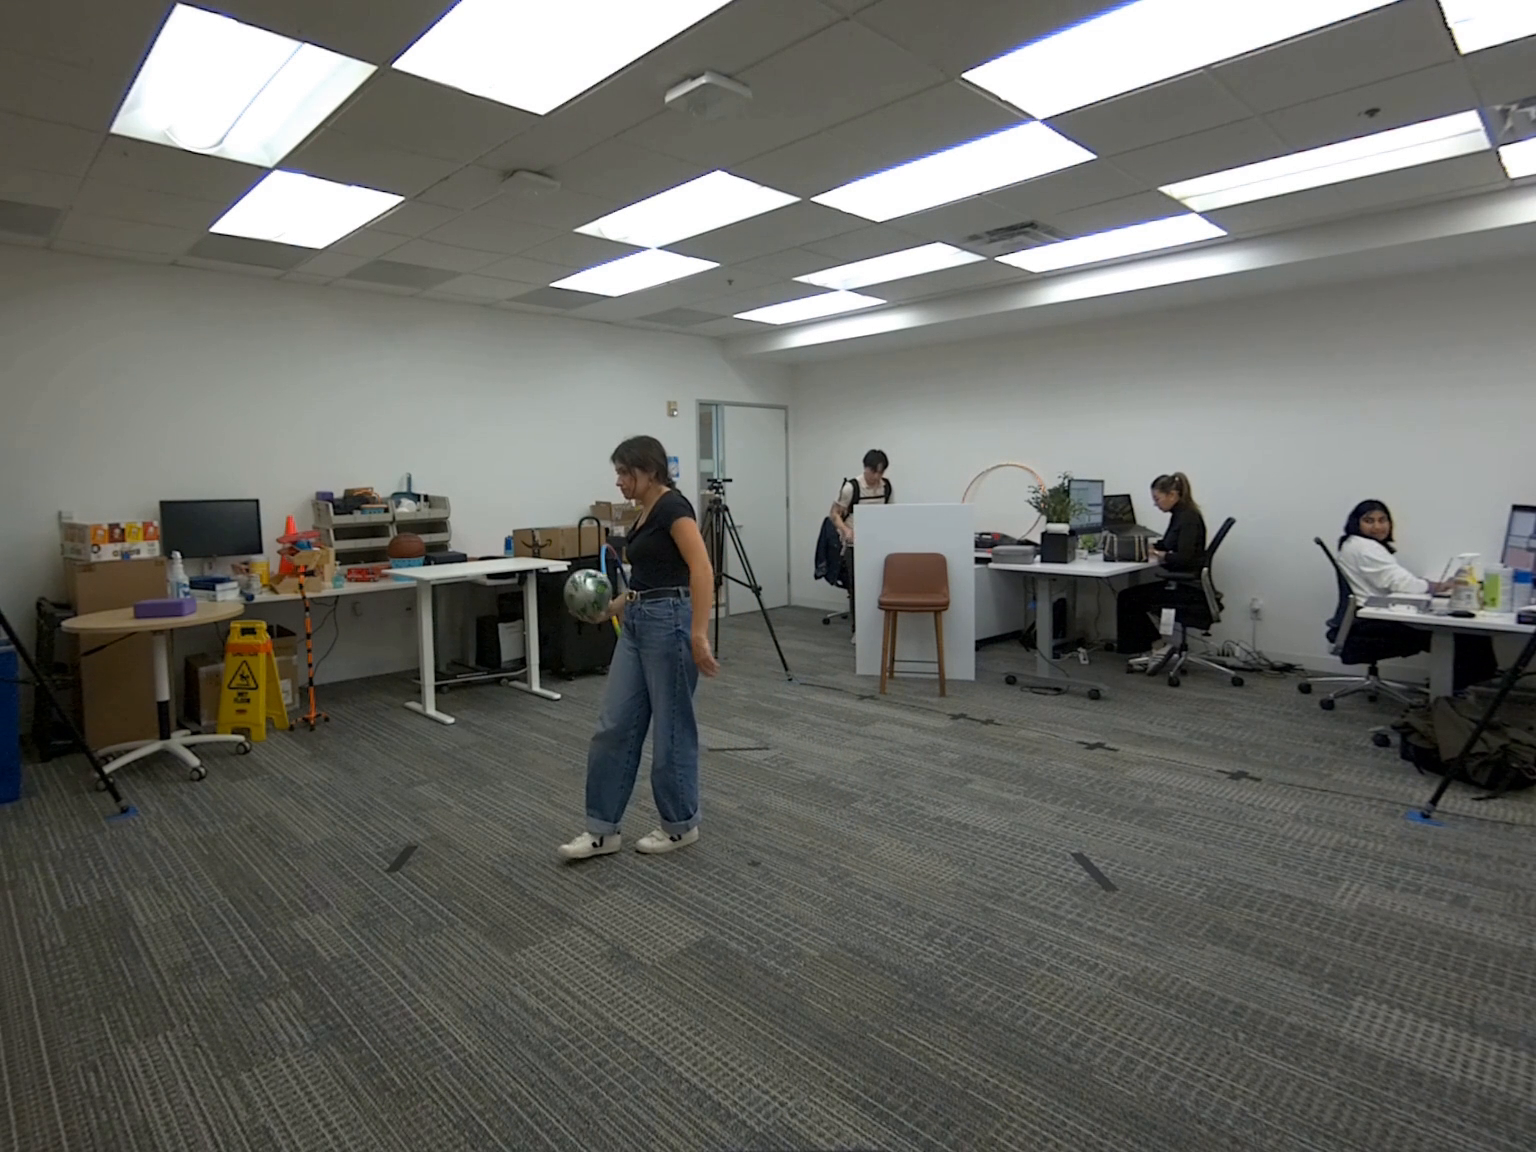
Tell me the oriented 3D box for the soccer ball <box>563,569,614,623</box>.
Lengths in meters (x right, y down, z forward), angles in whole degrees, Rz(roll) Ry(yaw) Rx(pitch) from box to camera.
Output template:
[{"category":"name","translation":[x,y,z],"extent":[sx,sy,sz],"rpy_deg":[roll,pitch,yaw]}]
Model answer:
[{"category":"soccer ball","translation":[-0.686,0.066,3.364],"extent":[0.187,0.187,0.188],"rpy_deg":[-1,5,-2]}]
